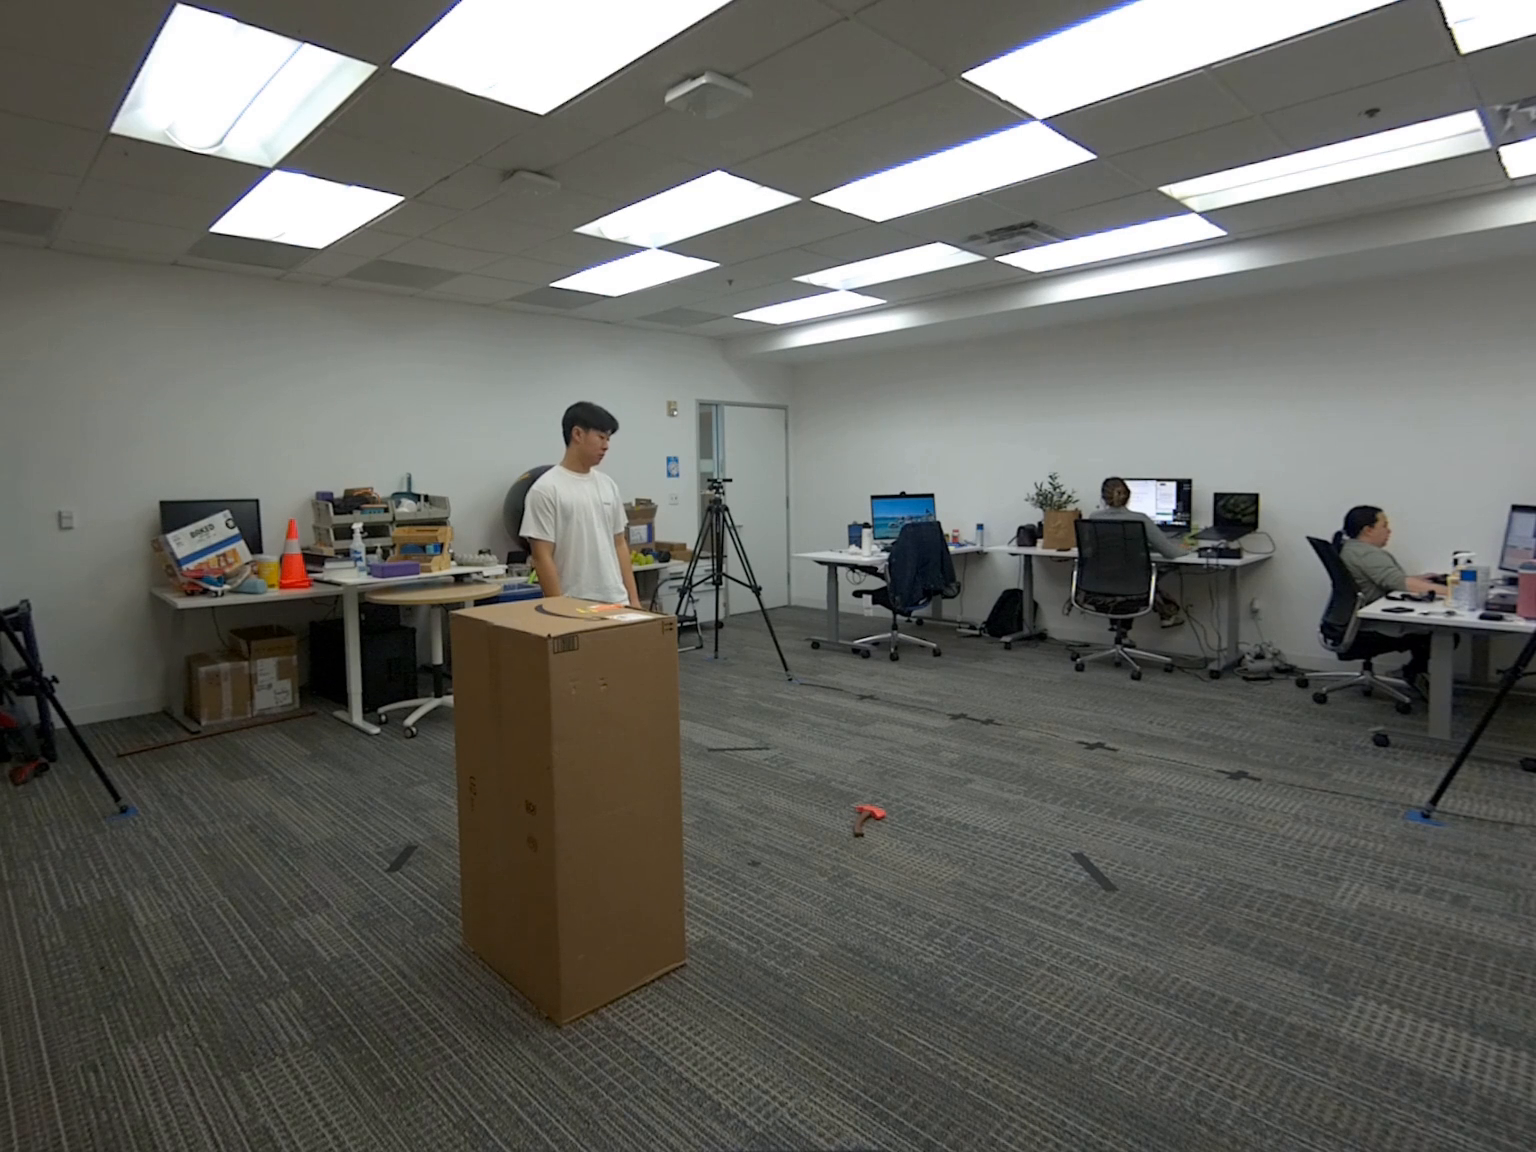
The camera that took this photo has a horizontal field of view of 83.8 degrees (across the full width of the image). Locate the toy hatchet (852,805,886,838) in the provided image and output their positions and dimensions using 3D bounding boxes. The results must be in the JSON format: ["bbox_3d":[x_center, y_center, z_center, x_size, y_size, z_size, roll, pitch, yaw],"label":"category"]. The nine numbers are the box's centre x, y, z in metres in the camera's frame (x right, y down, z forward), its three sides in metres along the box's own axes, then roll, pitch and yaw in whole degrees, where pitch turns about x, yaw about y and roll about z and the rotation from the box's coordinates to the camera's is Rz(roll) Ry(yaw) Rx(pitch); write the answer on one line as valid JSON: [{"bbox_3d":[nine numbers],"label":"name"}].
[{"bbox_3d":[0.414,0.988,3.439,0.132,0.029,0.269,1,9,7],"label":"toy hatchet"}]
